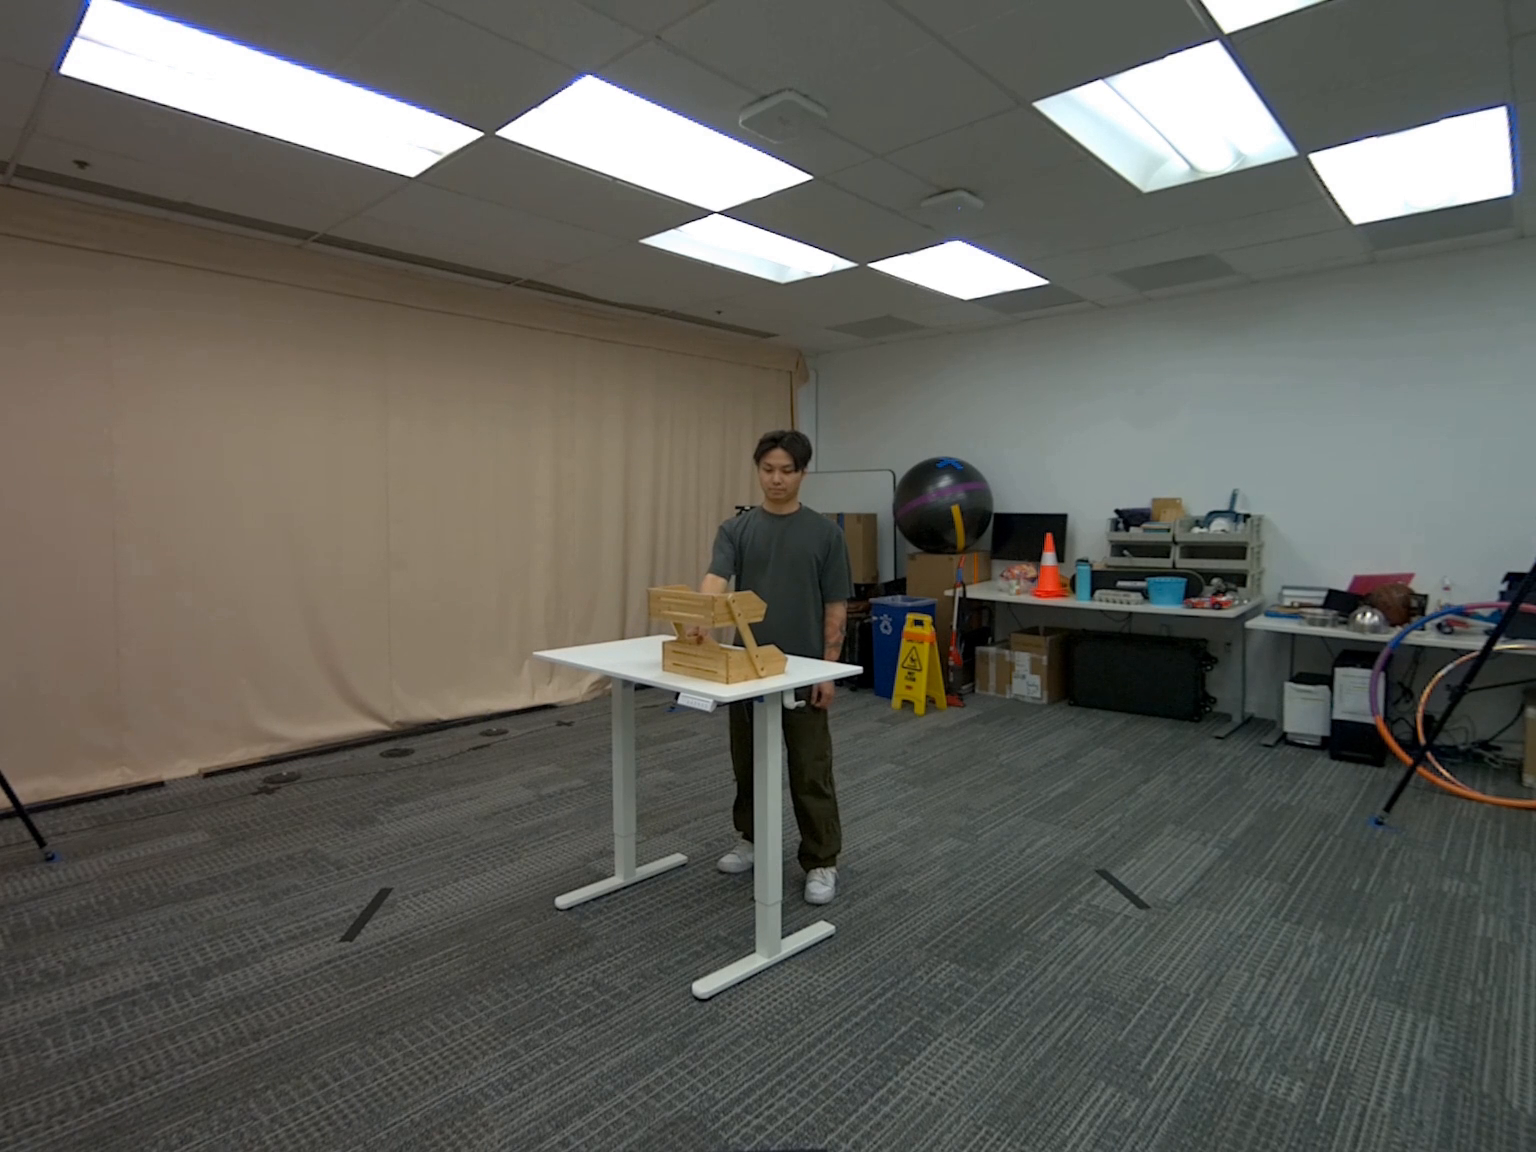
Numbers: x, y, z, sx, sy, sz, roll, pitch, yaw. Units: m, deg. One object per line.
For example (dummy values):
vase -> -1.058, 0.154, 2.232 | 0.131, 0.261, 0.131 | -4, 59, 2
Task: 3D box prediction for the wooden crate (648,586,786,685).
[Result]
wooden crate -> -0.151, 0.163, 2.562 | 0.293, 0.273, 0.335 | -5, 6, -44
